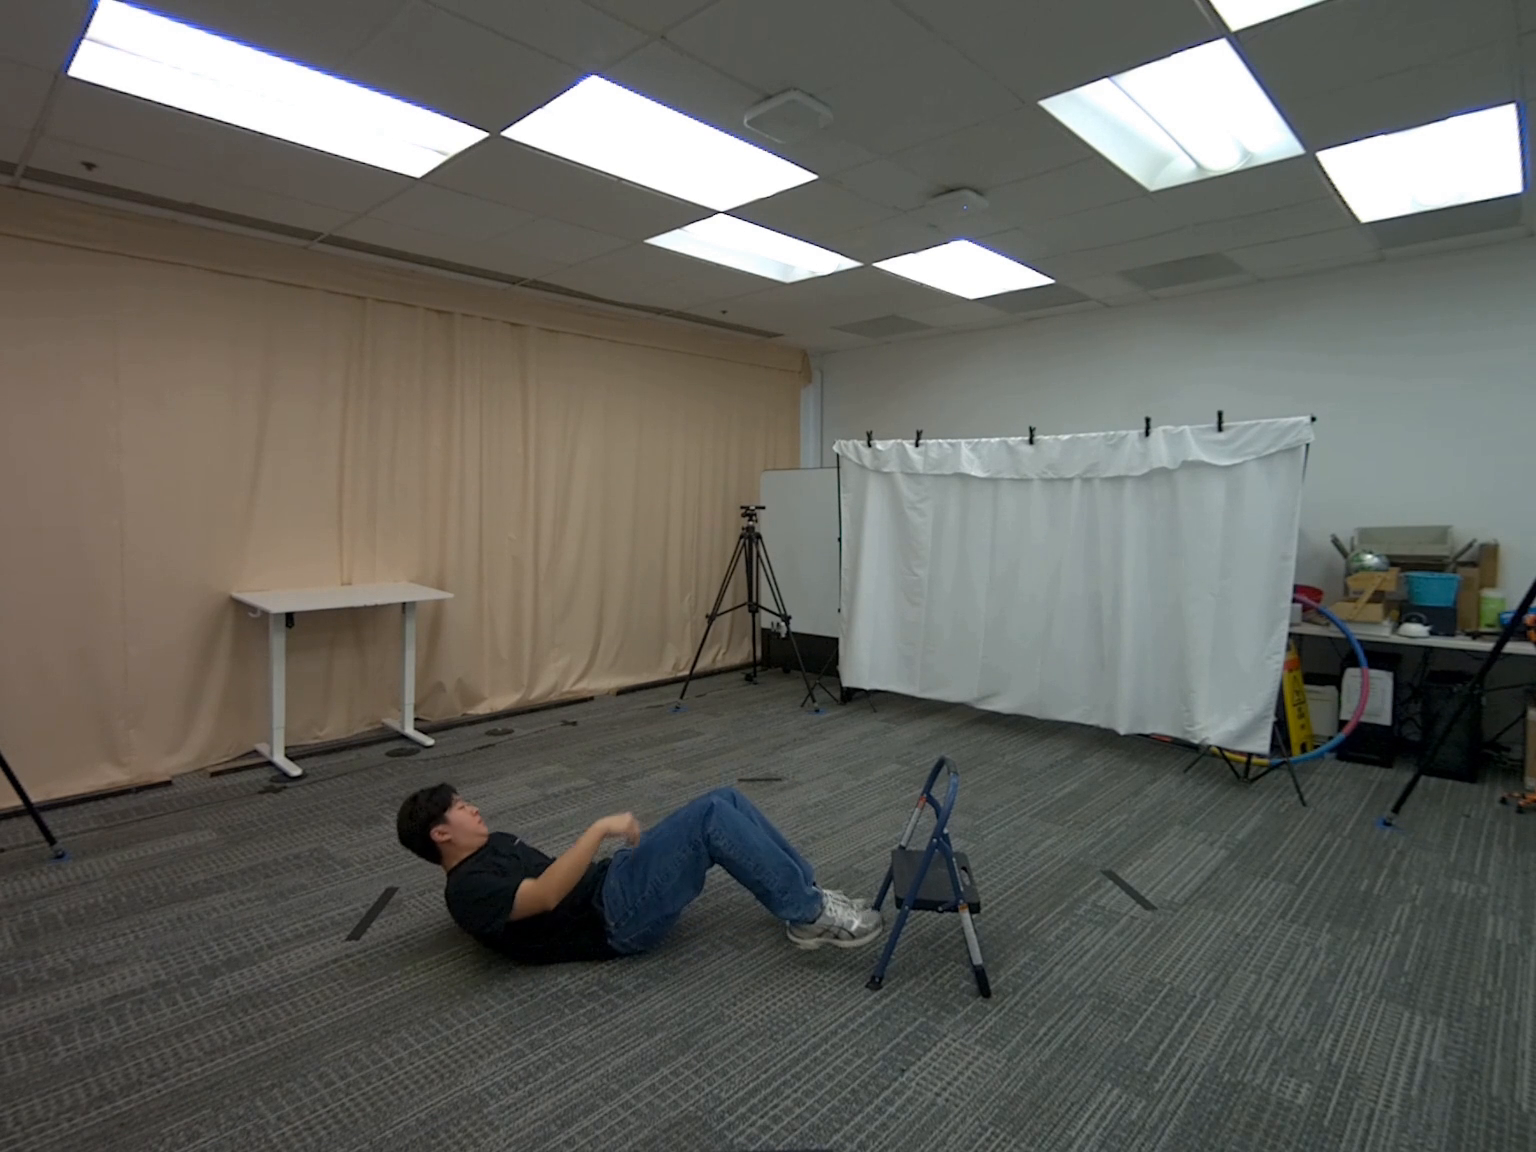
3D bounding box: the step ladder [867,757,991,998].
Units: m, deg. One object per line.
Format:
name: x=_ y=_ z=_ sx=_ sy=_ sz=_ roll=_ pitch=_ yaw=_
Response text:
step ladder: x=0.486 y=0.874 z=2.587 sx=0.352 sy=0.604 sz=0.428 roll=0 pitch=4 yaw=7
